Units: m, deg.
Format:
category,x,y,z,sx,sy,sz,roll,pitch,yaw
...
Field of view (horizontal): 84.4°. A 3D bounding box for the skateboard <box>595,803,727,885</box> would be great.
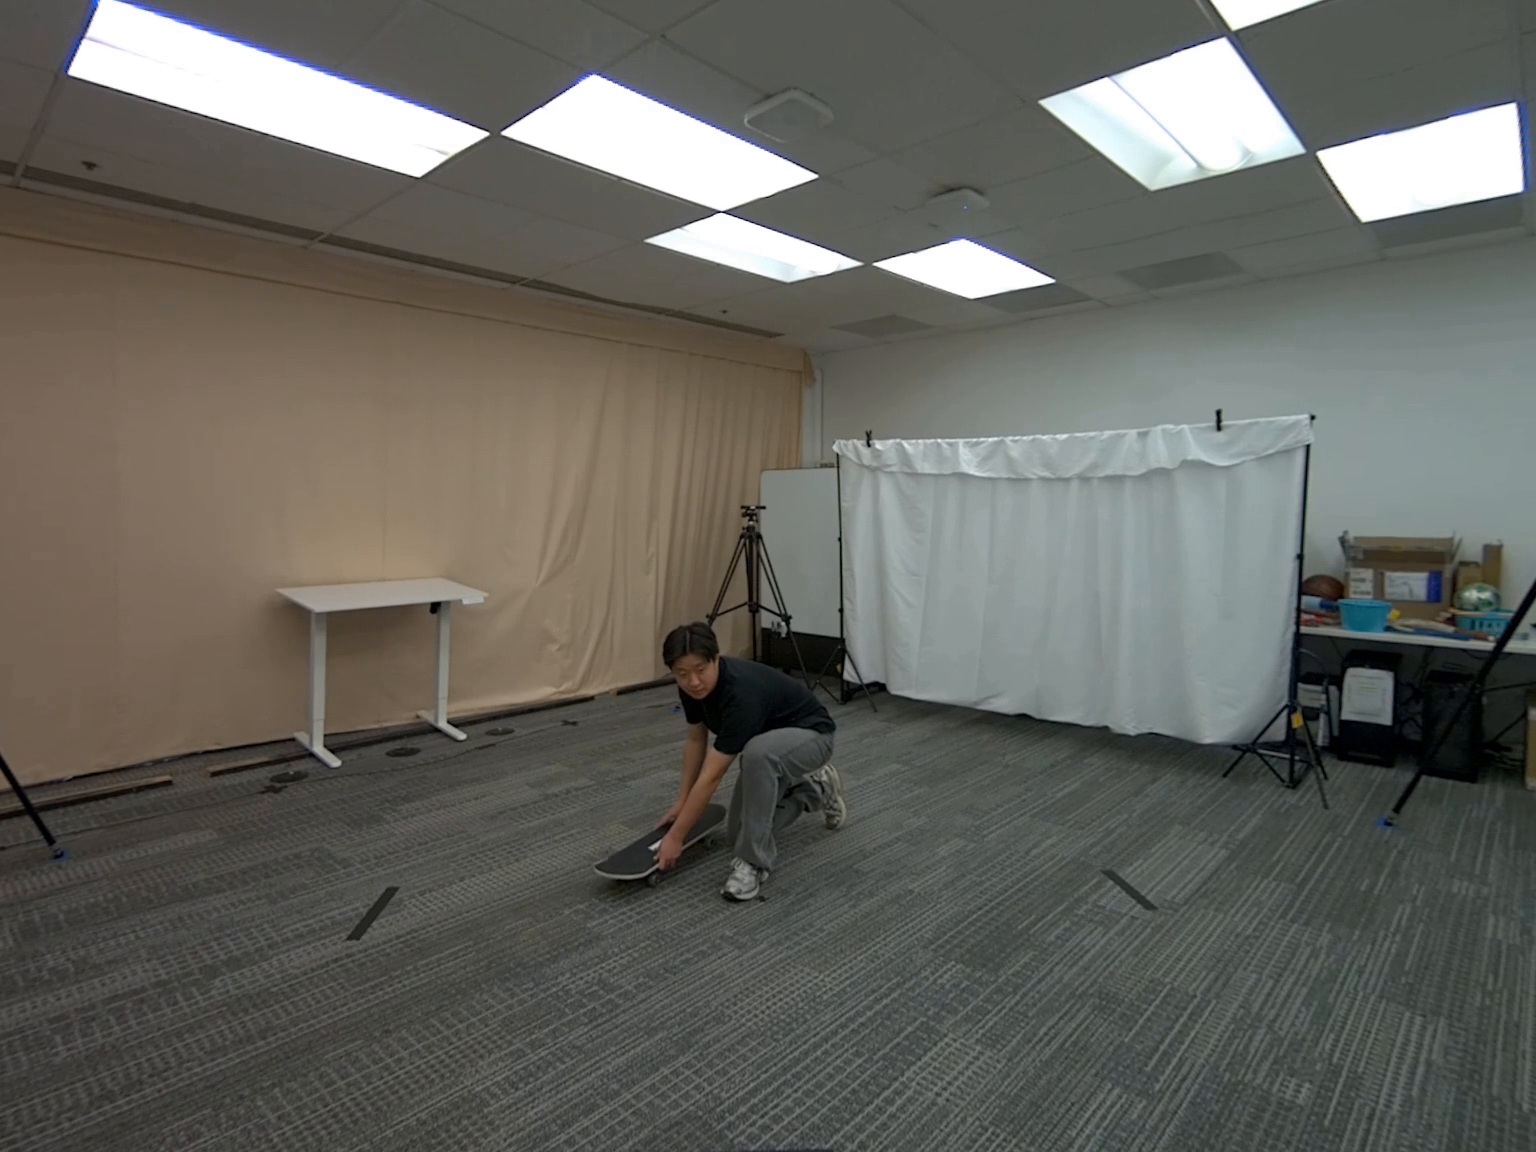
category,x,y,z,sx,sy,sz,roll,pitch,yaw
skateboard,-0.396,1.065,3.291,0.199,0.110,0.765,1,5,28
